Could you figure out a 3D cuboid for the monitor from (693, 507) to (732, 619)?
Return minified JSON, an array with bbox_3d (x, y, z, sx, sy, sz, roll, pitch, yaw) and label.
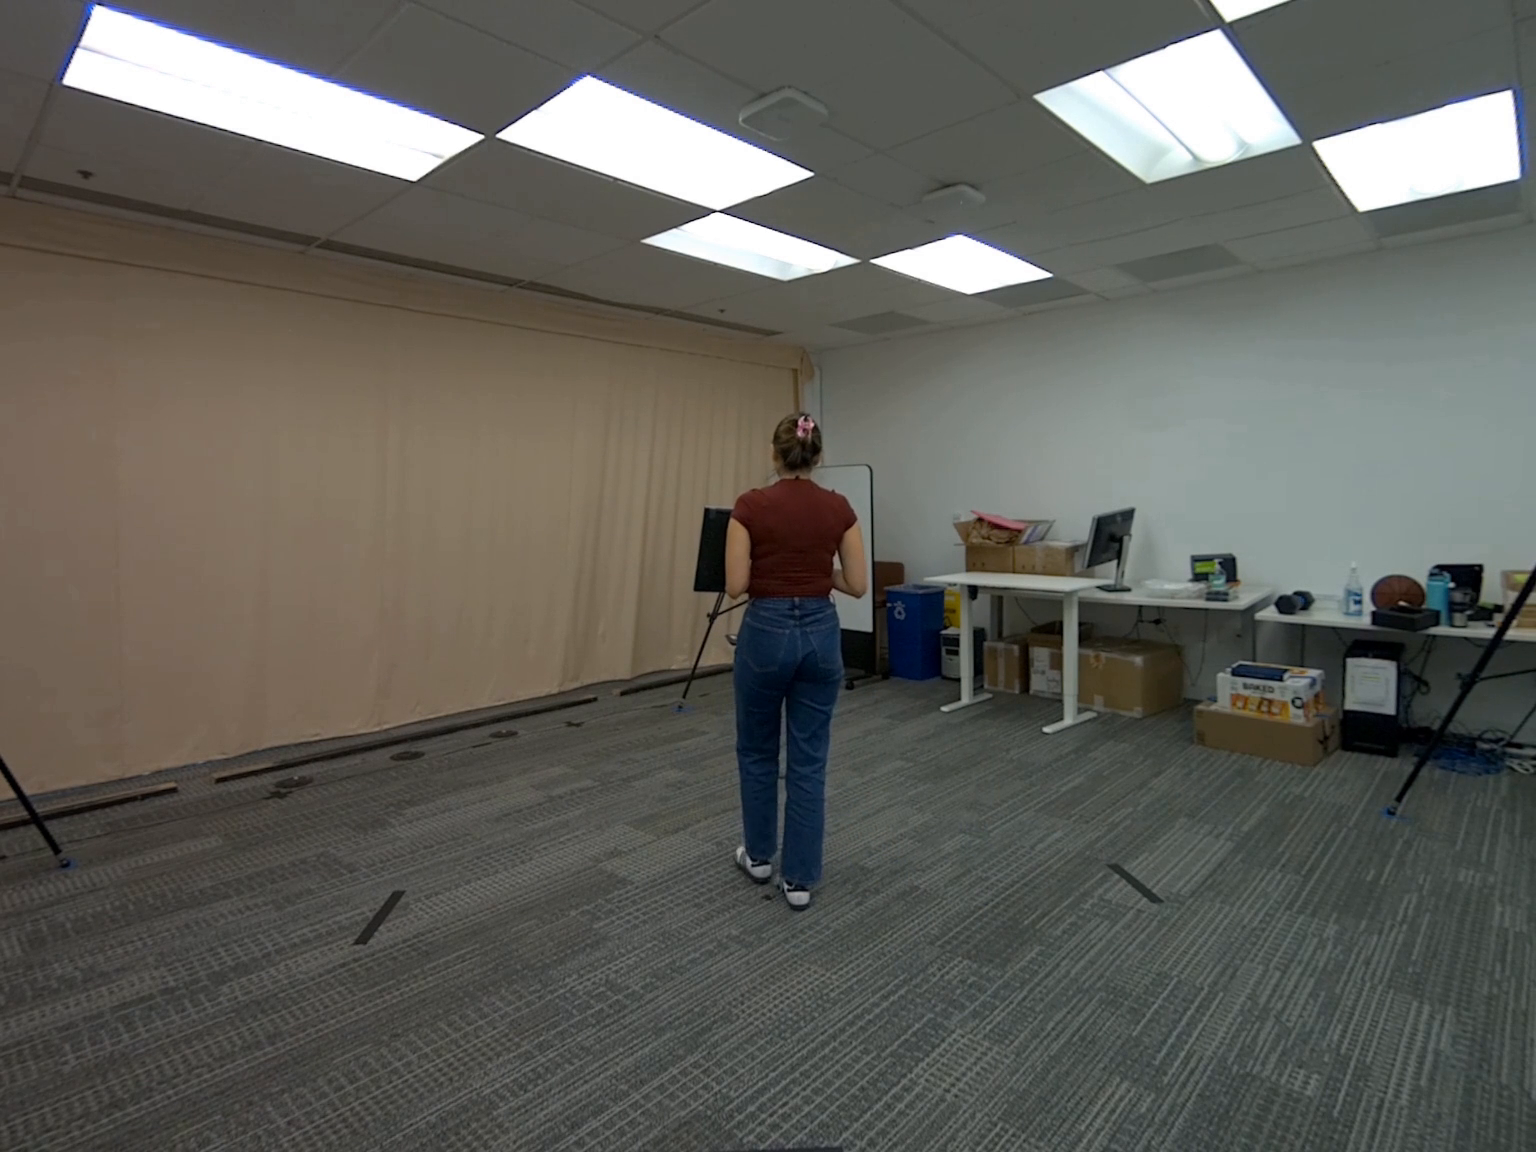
[{"bbox_3d":[0.006,0.013,3.199,0.531,0.519,0.191,3,11,-13],"label":"monitor"}]
